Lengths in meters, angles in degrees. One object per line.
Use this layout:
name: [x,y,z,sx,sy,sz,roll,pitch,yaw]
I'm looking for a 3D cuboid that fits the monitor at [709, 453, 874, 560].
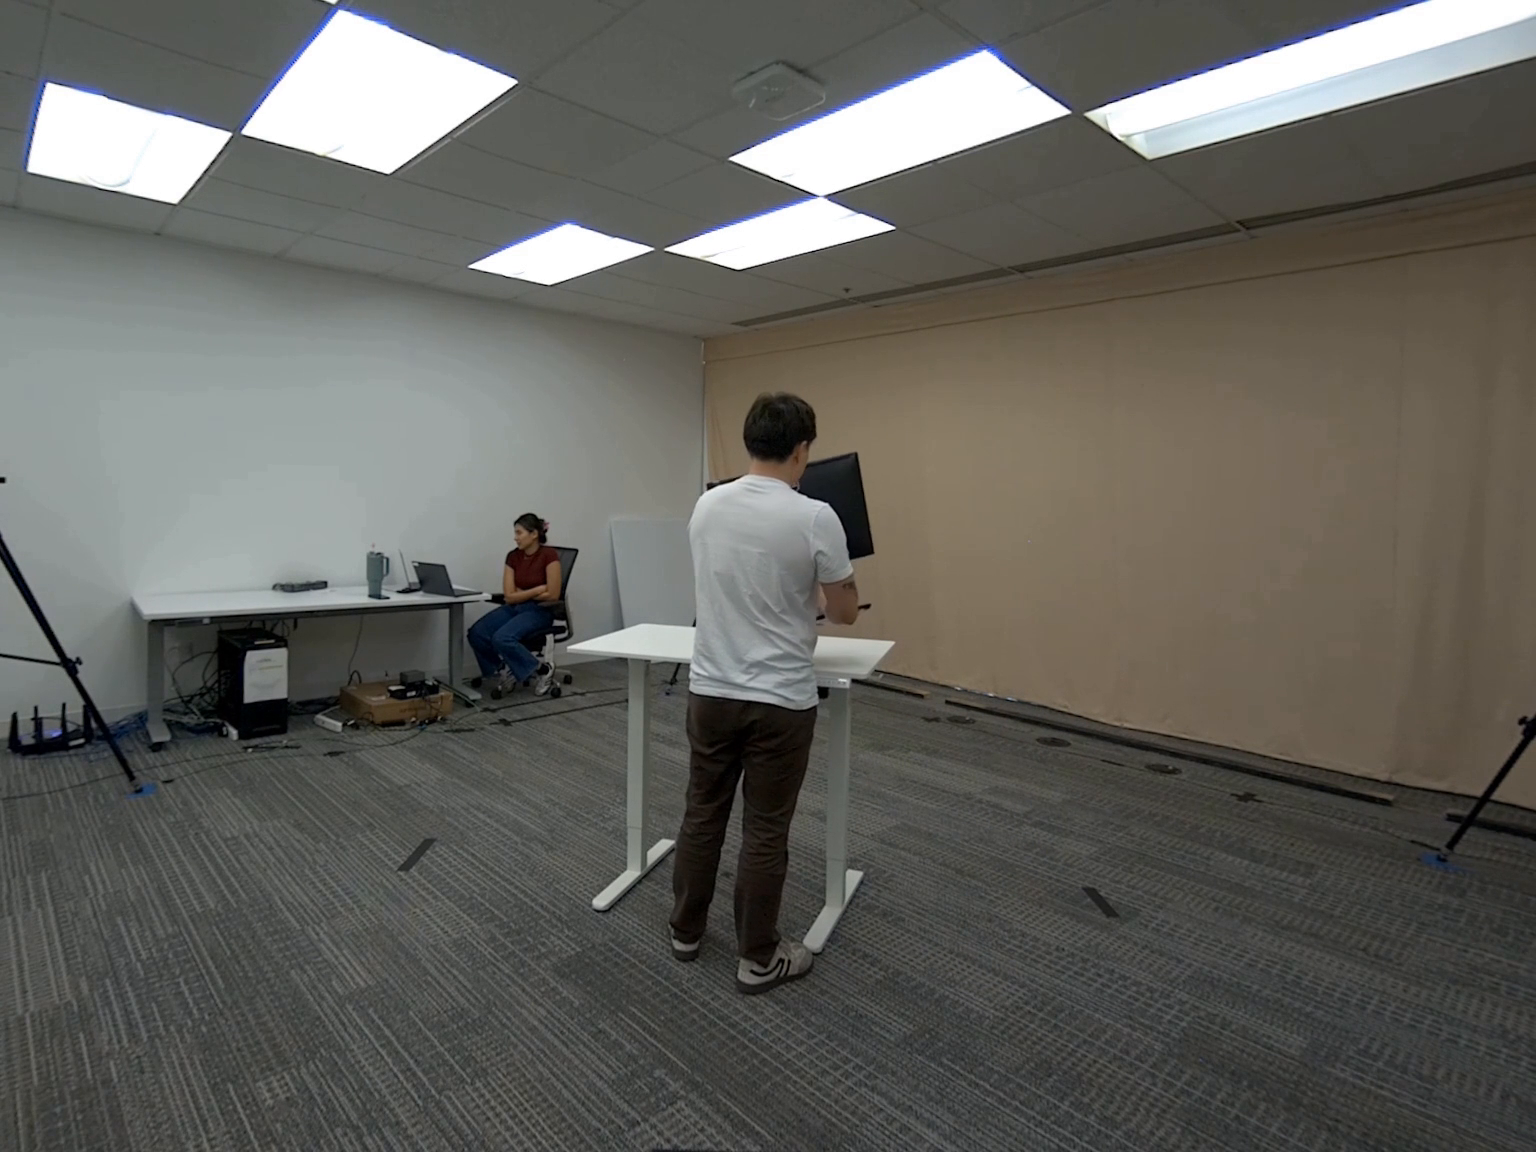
monitor: [0.119,-0.097,2.712,0.533,0.525,0.188,-14,-5,-18]
